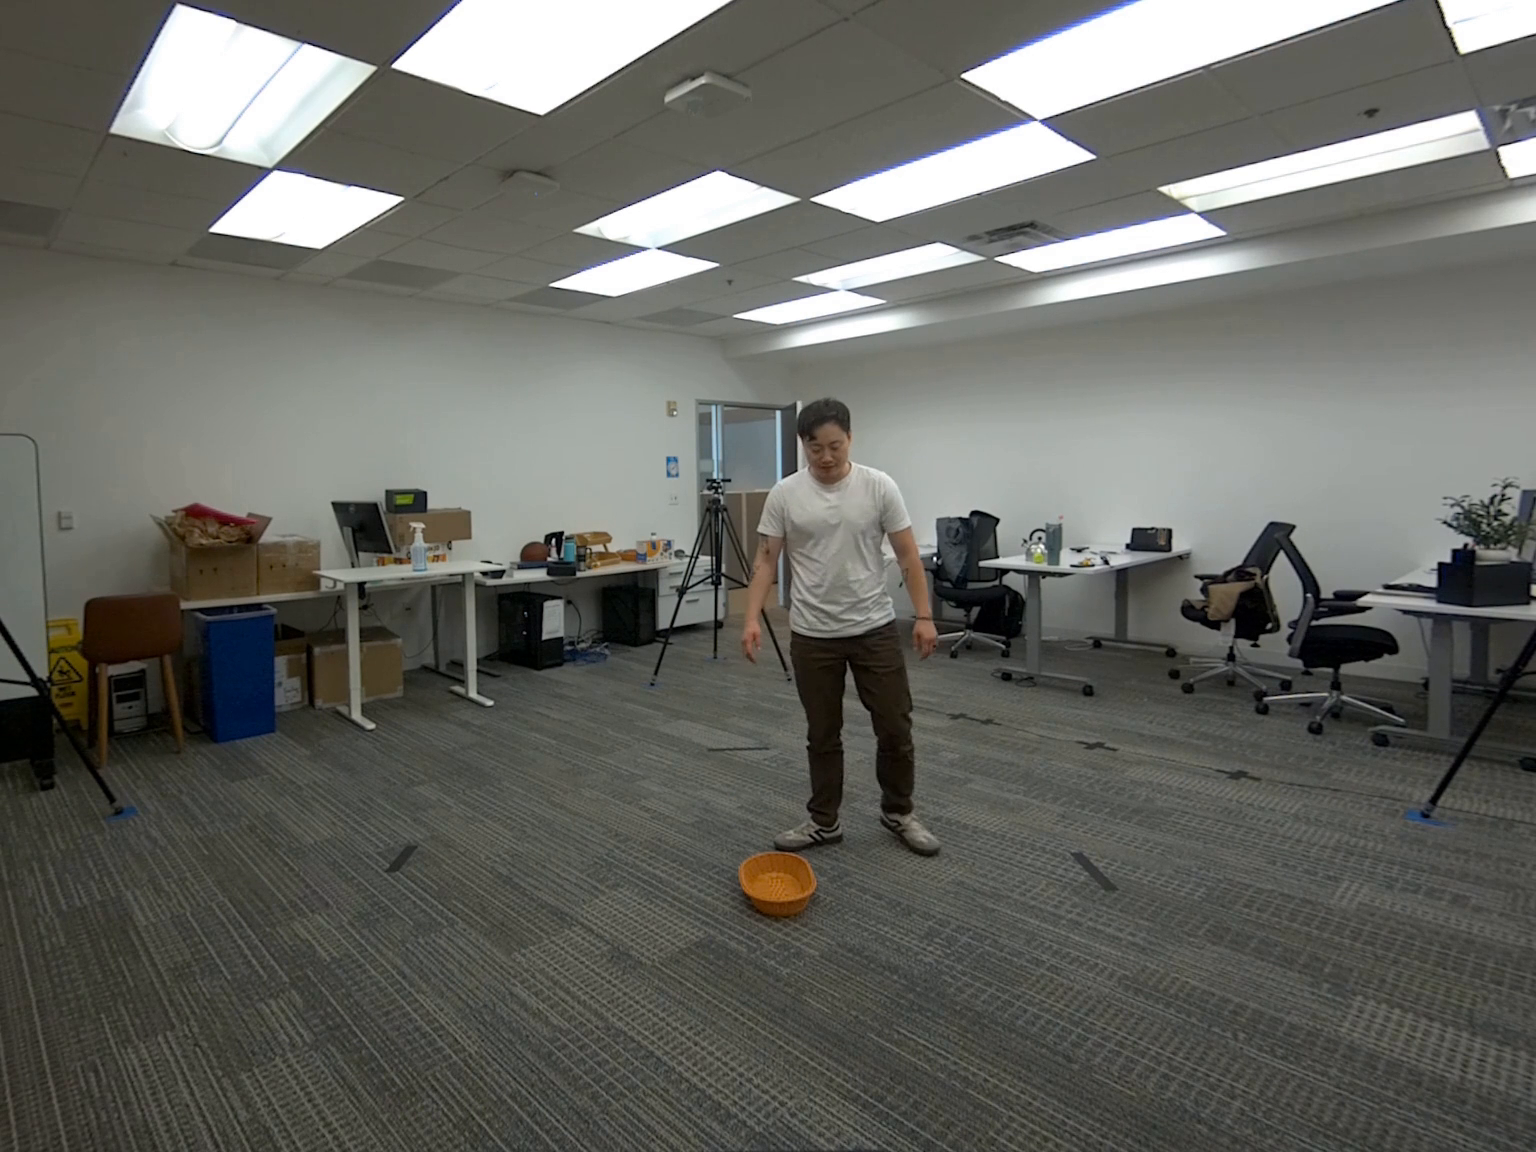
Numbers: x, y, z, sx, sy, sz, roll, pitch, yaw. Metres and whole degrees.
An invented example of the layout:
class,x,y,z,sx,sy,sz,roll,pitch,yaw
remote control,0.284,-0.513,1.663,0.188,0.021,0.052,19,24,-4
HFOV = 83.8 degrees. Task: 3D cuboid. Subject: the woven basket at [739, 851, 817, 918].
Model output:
class,x,y,z,sx,sy,sz,roll,pitch,yaw
woven basket,0.037,1.035,2.862,0.252,0.073,0.353,-3,7,-4
